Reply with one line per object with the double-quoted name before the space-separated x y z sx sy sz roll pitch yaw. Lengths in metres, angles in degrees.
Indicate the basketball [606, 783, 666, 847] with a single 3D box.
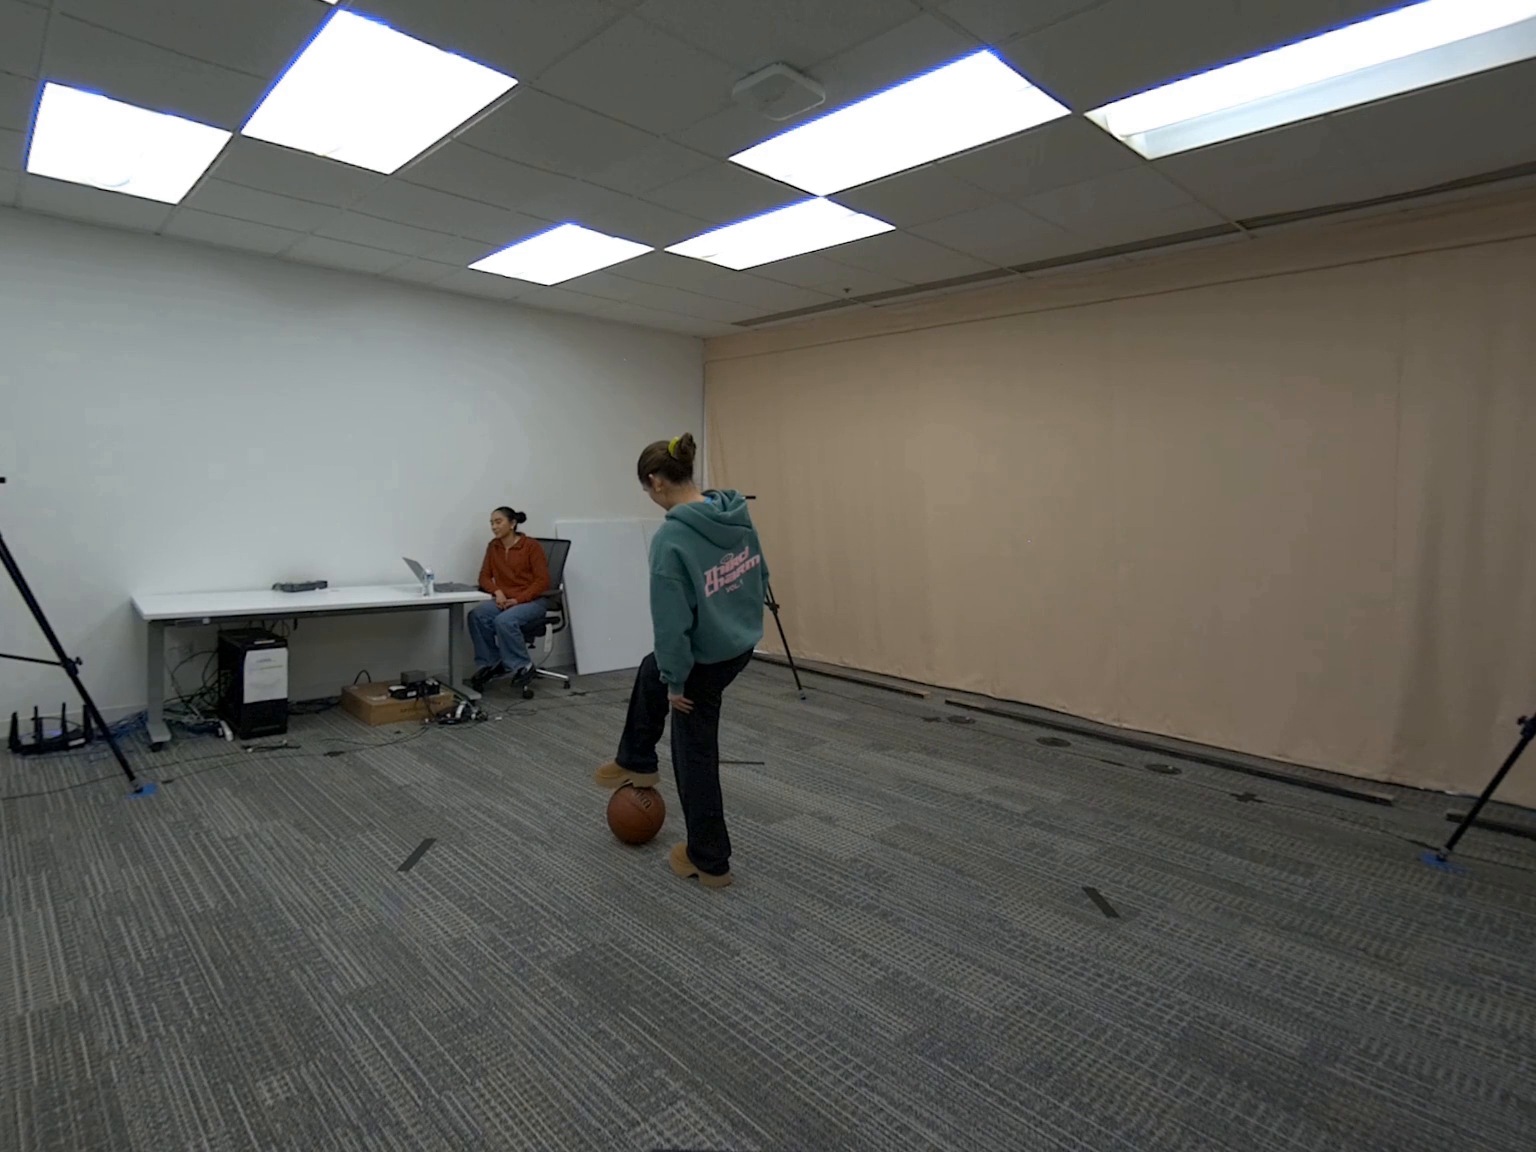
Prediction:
"basketball" -0.535 0.953 3.381 0.236 0.235 0.237 1 4 -1
